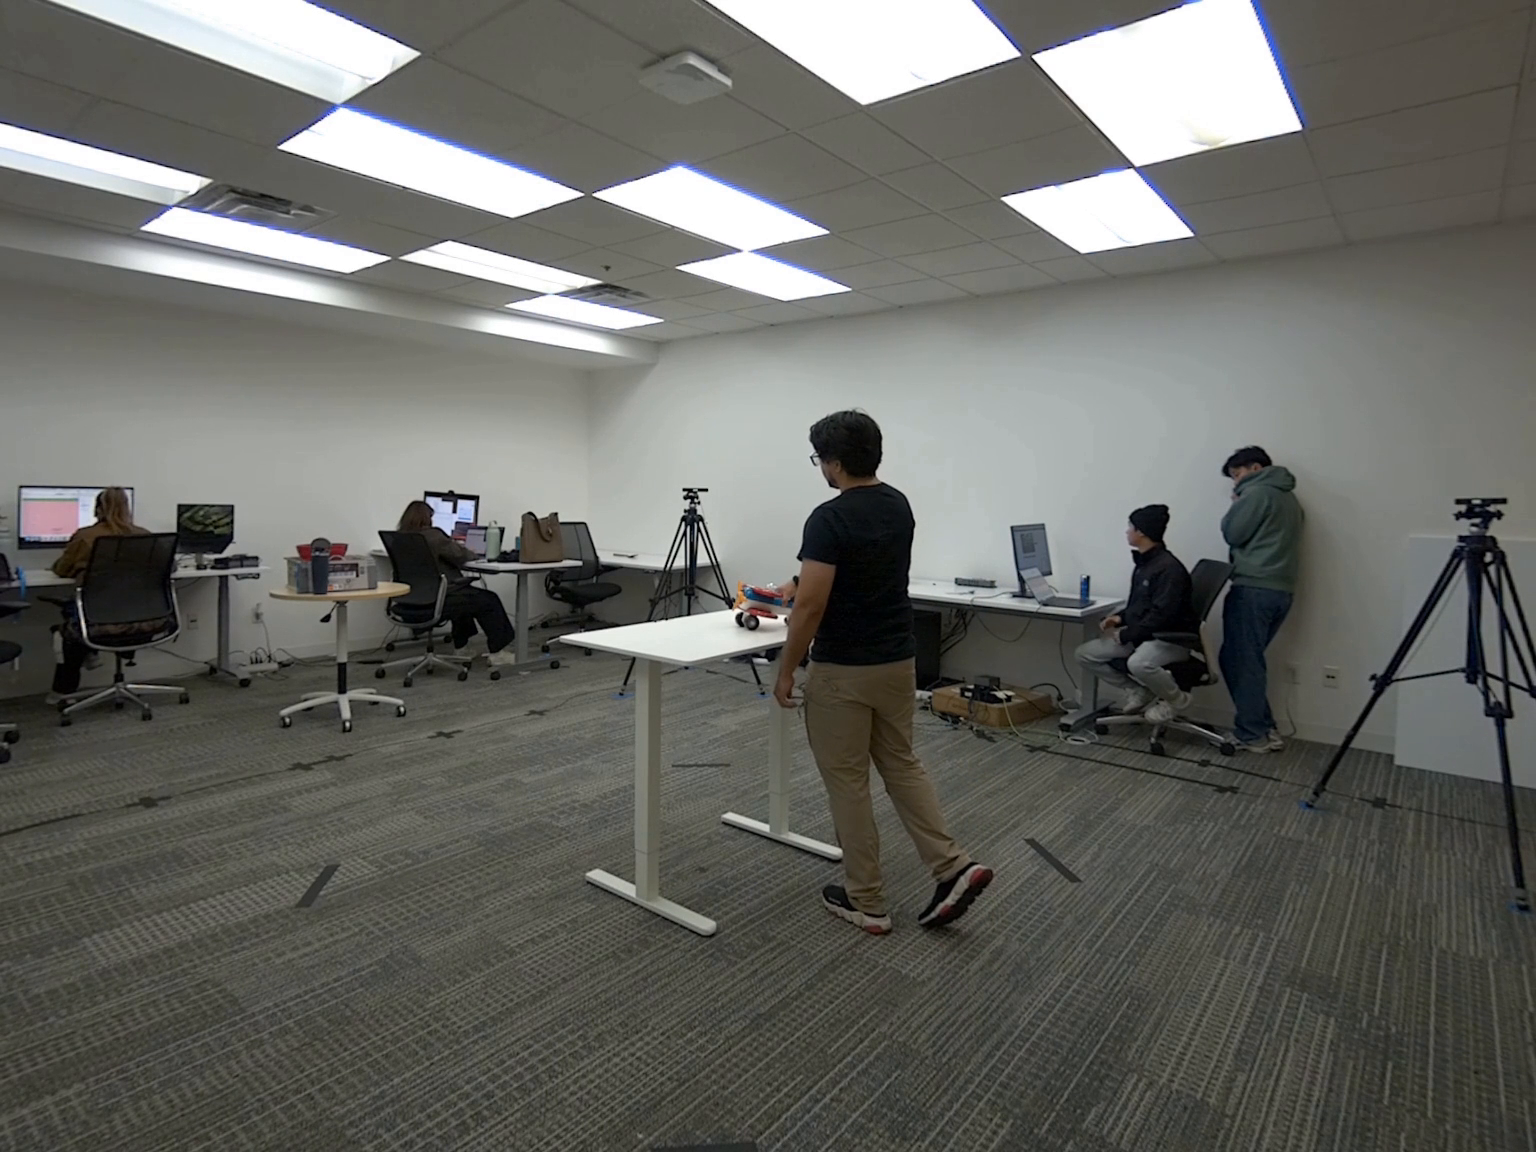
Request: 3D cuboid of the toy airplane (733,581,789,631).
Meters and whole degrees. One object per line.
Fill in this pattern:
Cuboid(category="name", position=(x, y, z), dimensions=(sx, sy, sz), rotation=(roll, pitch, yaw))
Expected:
Cuboid(category="toy airplane", position=(-0.018, 0.103, 3.154), dimensions=(0.260, 0.156, 0.252), rotation=(6, 8, 39))
